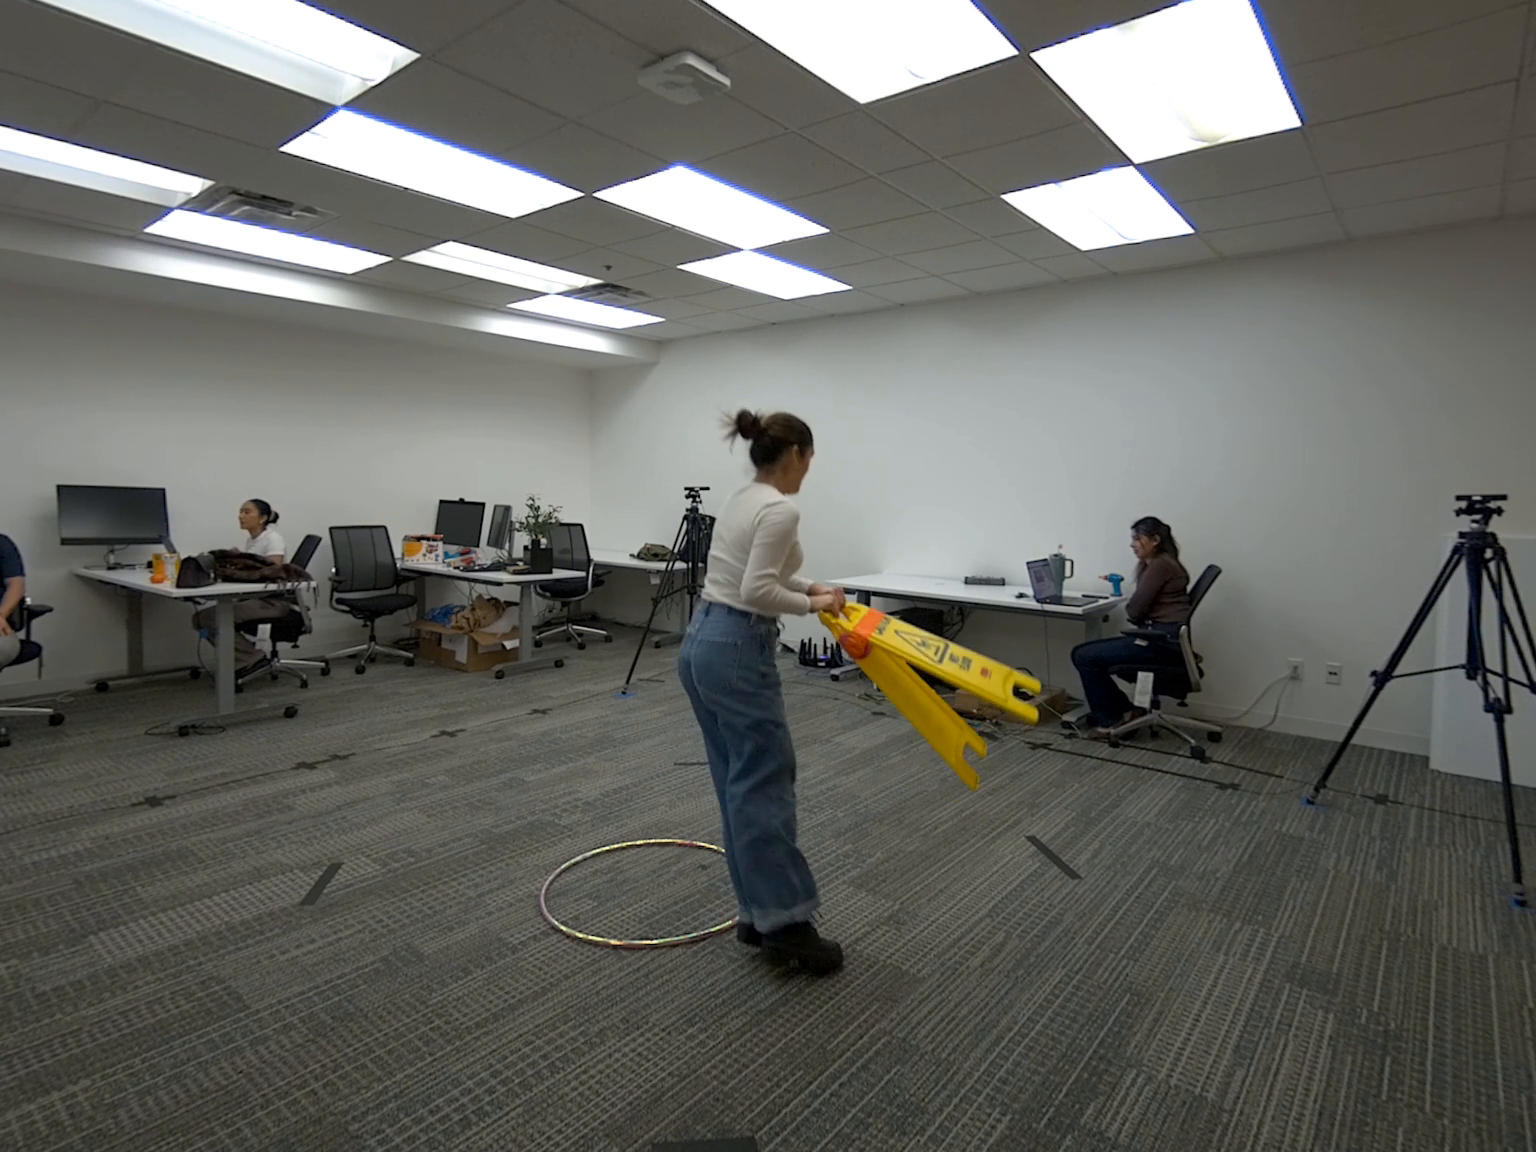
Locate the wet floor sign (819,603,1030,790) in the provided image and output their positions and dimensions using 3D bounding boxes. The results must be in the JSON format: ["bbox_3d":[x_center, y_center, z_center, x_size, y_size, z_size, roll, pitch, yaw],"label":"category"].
[{"bbox_3d":[0.392,0.282,2.529,0.655,0.288,0.280,37,24,9],"label":"wet floor sign"}]
